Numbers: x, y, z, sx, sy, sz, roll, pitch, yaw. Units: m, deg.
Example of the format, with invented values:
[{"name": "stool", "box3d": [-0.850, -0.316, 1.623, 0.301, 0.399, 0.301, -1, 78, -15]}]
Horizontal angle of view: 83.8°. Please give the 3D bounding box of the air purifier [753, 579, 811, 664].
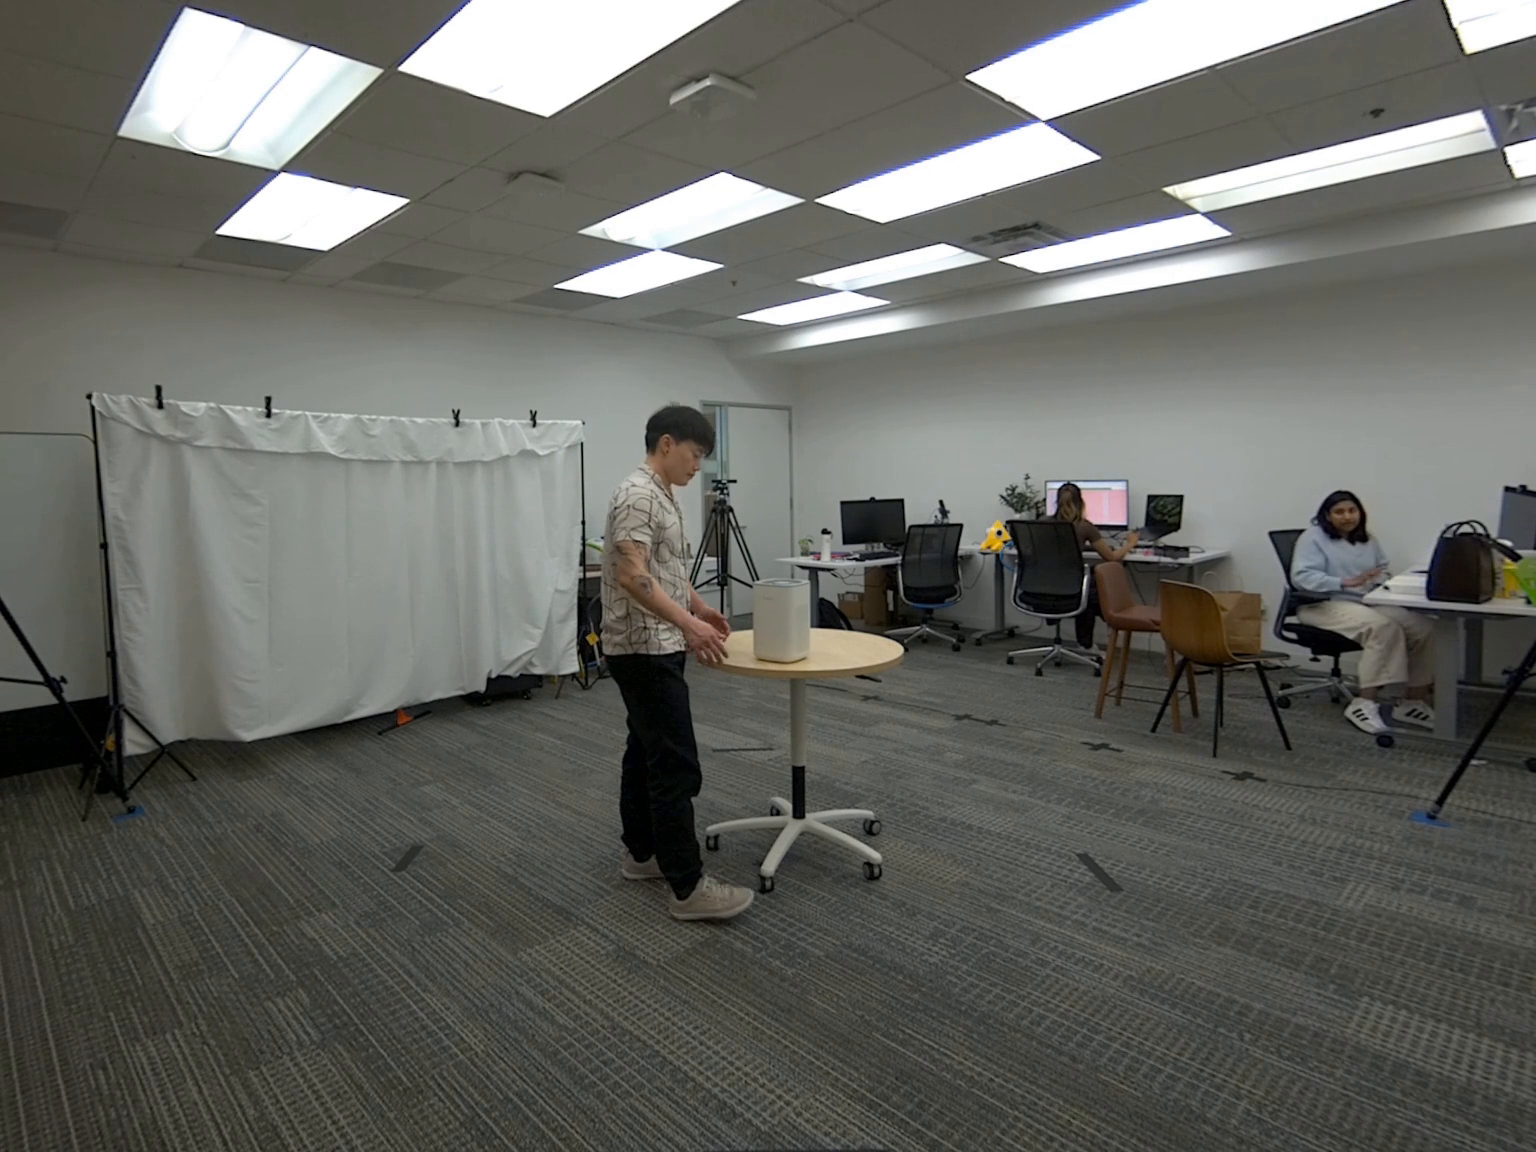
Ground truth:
[{"name": "air purifier", "box3d": [0.042, 0.148, 2.933, 0.175, 0.264, 0.168, 2, 5, 31]}]
